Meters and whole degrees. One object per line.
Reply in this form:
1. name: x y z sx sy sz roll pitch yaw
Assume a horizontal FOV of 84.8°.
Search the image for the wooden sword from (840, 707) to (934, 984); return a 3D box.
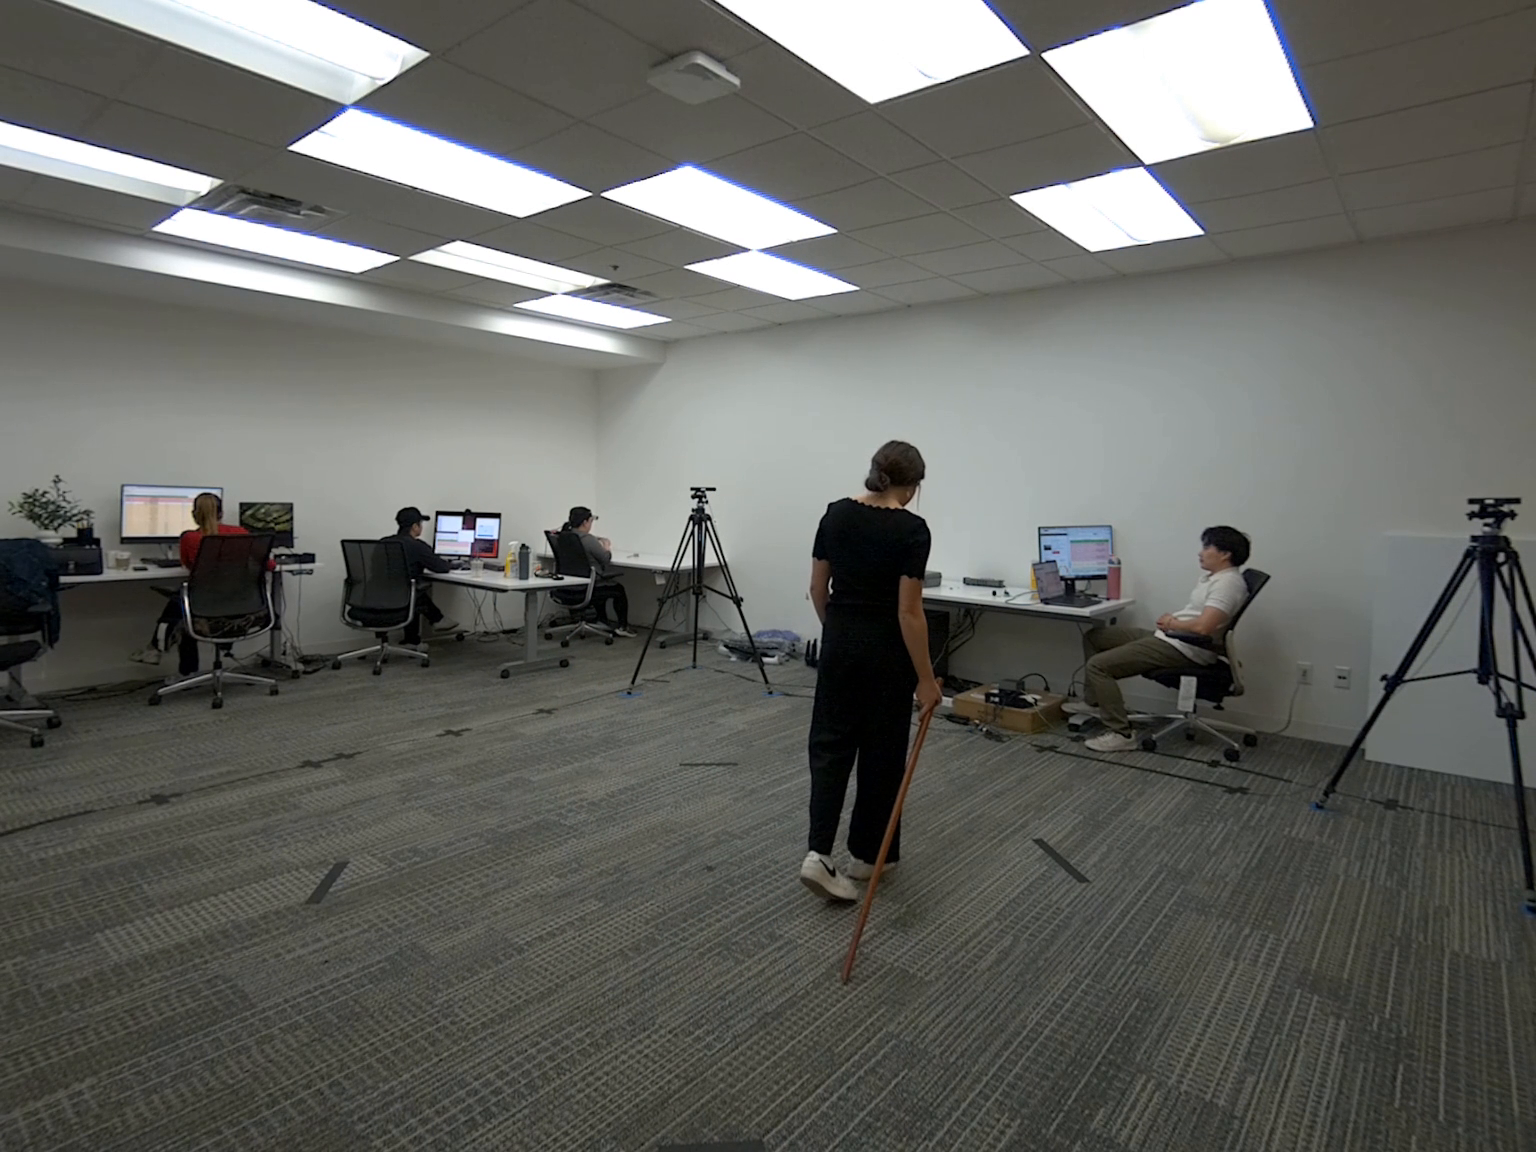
1. wooden sword: 0.401 0.767 2.691 0.052 1.033 0.023 -13 -51 45
